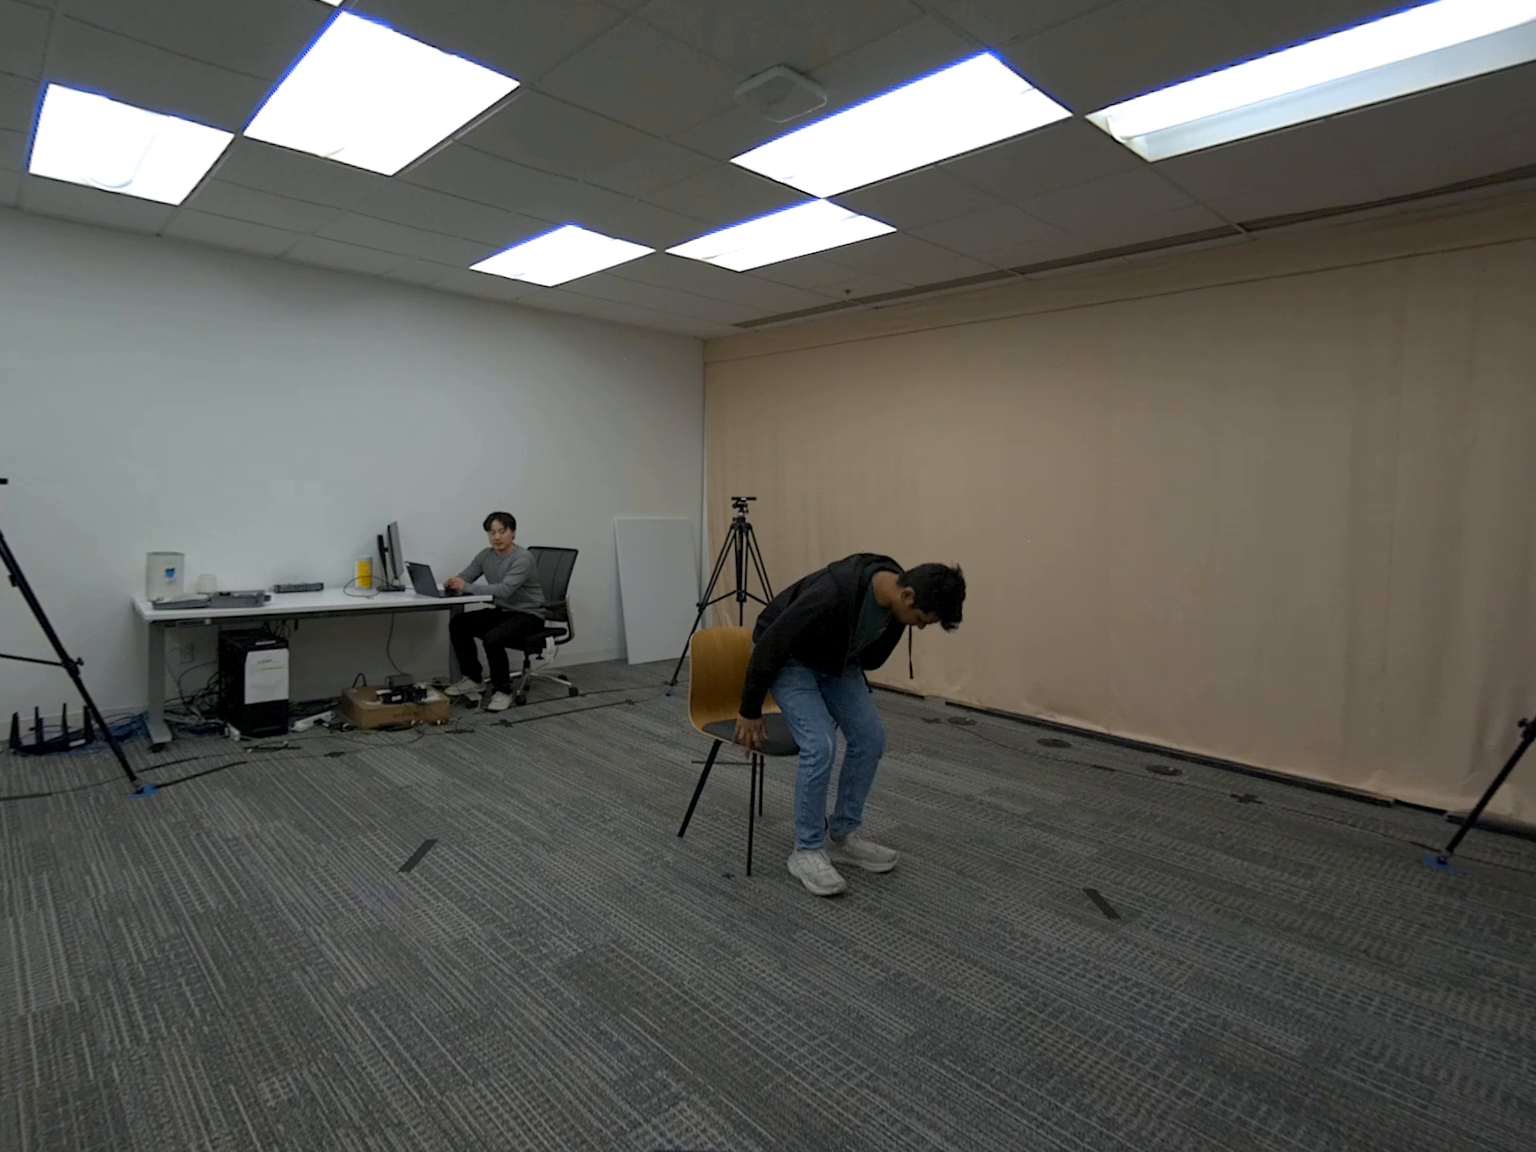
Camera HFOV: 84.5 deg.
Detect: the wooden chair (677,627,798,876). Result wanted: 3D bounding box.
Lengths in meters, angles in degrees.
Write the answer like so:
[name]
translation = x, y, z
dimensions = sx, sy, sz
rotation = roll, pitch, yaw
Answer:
[wooden chair]
translation = -0.045, 0.654, 3.381
dimensions = 0.467, 0.878, 0.535
rotation = 0, -1, -39
